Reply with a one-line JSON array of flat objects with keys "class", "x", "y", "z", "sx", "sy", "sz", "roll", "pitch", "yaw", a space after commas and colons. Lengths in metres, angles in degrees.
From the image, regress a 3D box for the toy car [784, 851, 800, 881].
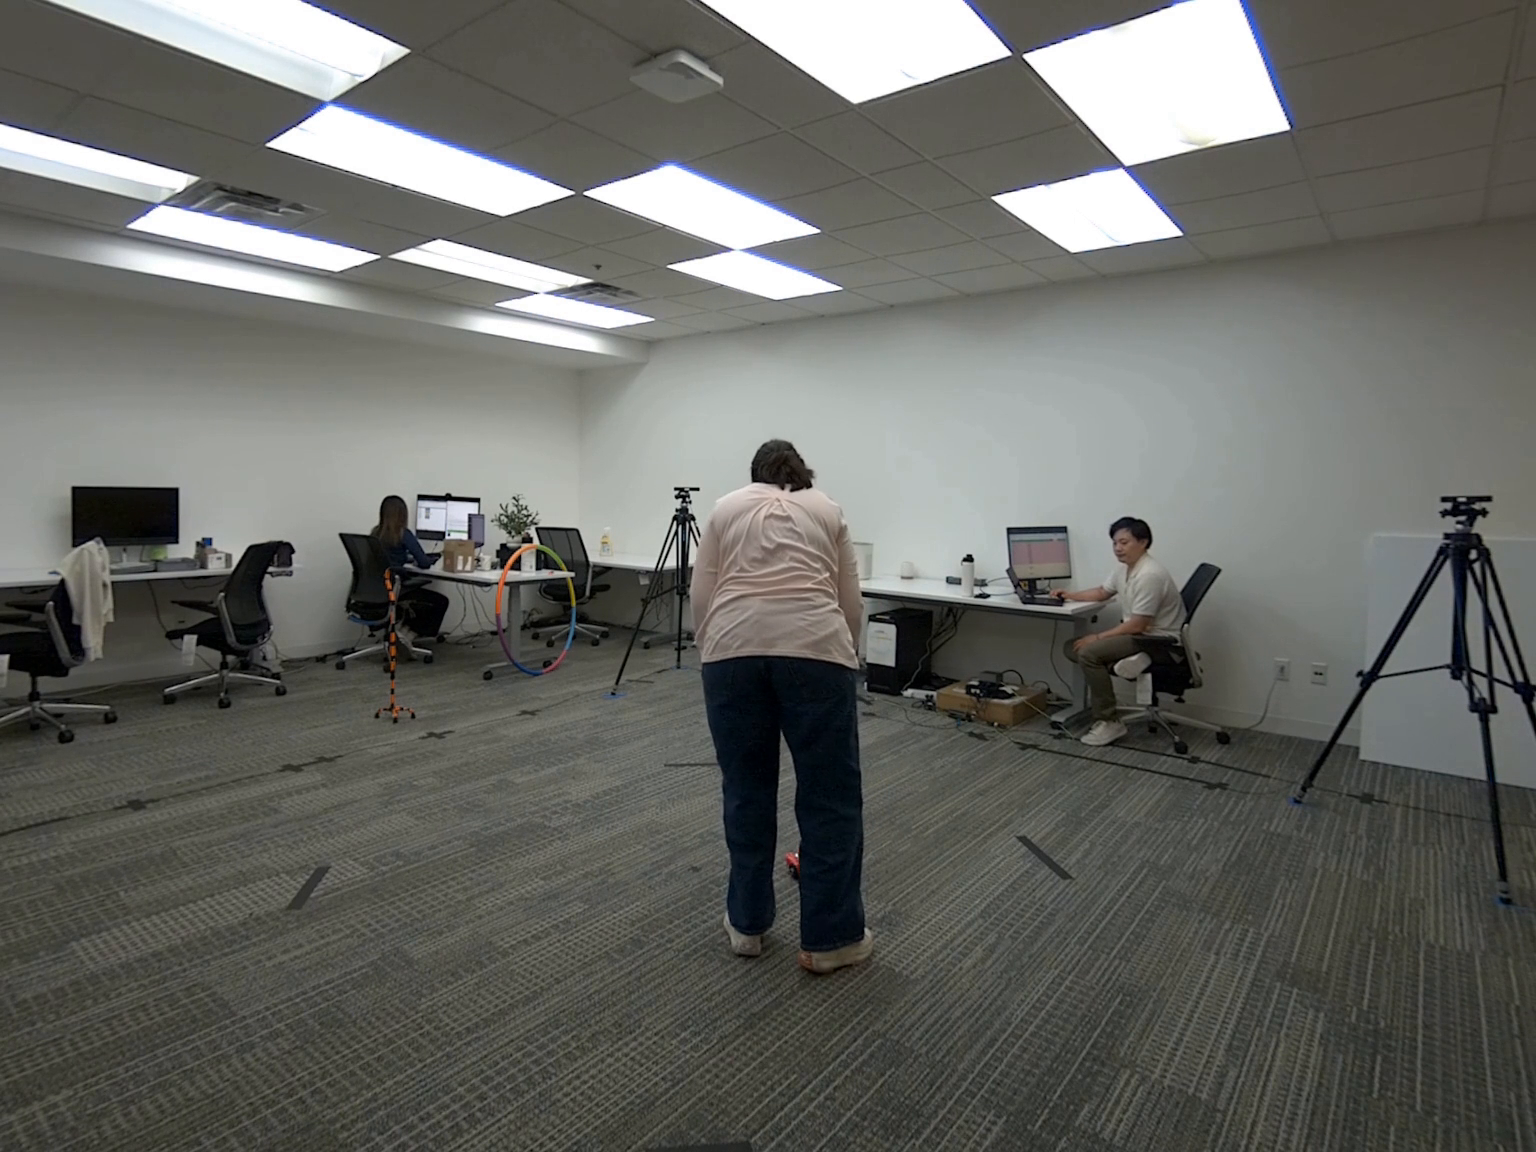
[{"class": "toy car", "x": 0.165, "y": 1.042, "z": 3.035, "sx": 0.127, "sy": 0.082, "sz": 0.265, "roll": -3, "pitch": 18, "yaw": -34}]
